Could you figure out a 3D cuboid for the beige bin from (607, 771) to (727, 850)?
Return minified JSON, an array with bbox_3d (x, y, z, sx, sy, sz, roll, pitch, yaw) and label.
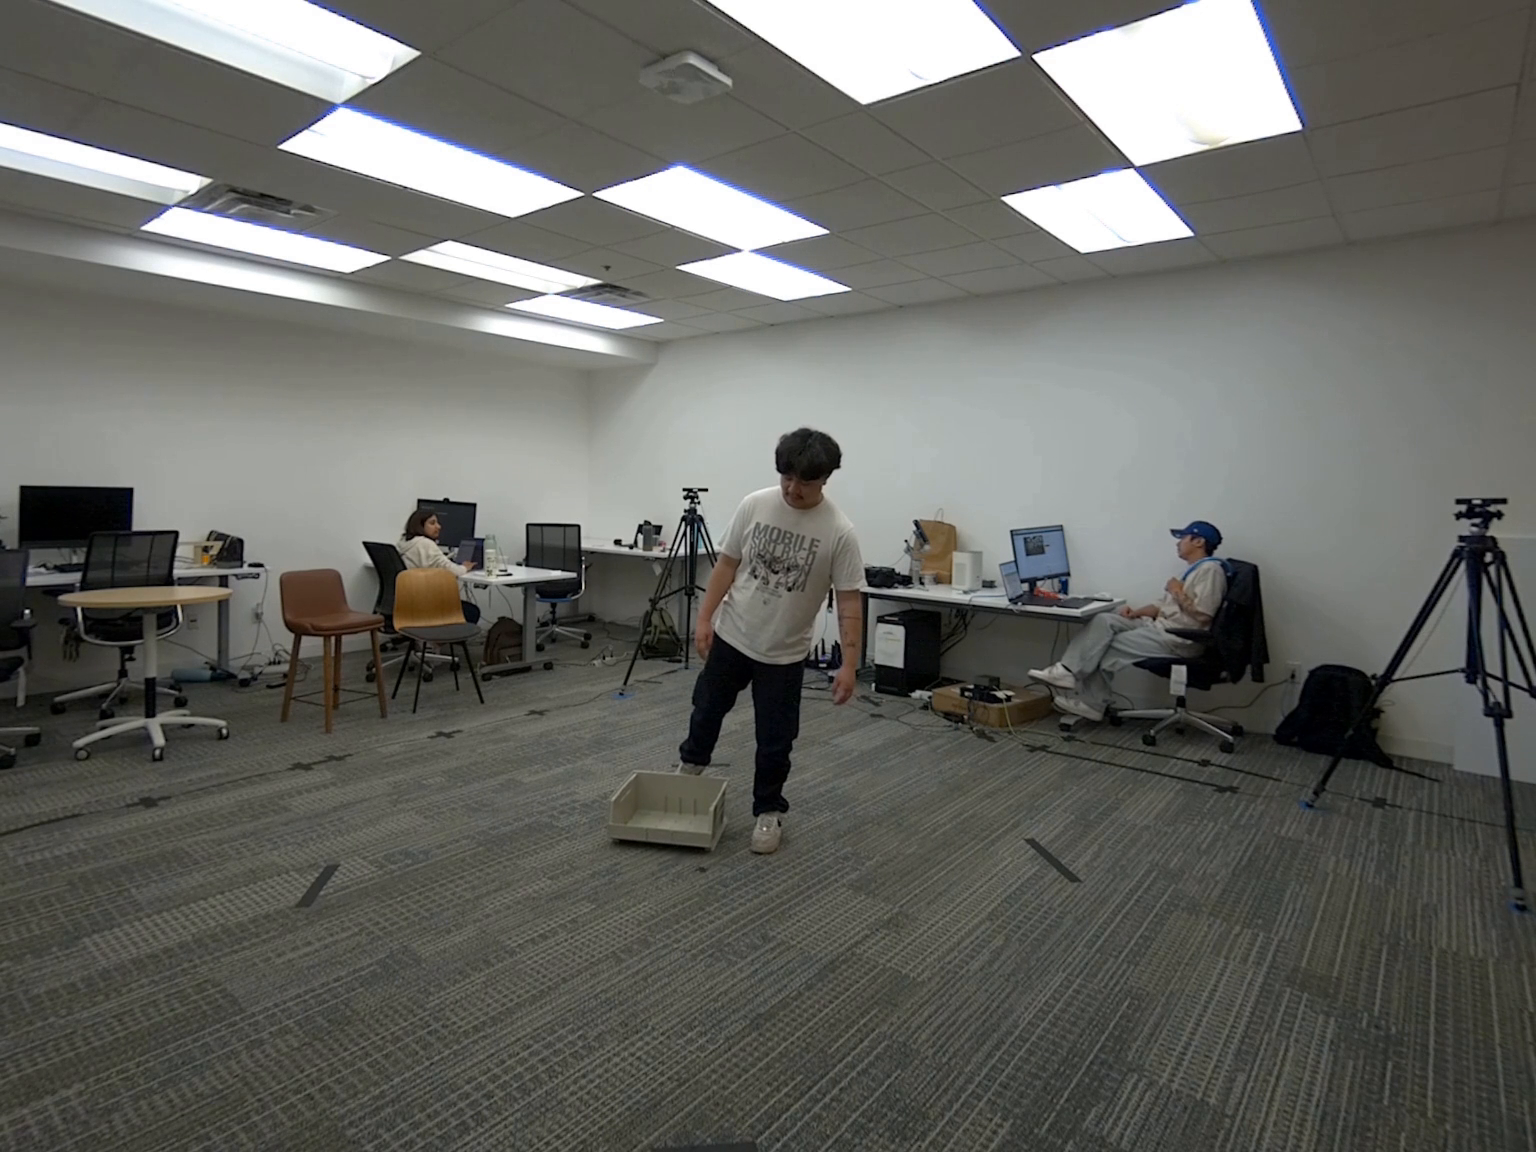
[{"bbox_3d":[-0.402,0.951,3.430,0.426,0.188,0.375,0,4,8],"label":"beige bin"}]
